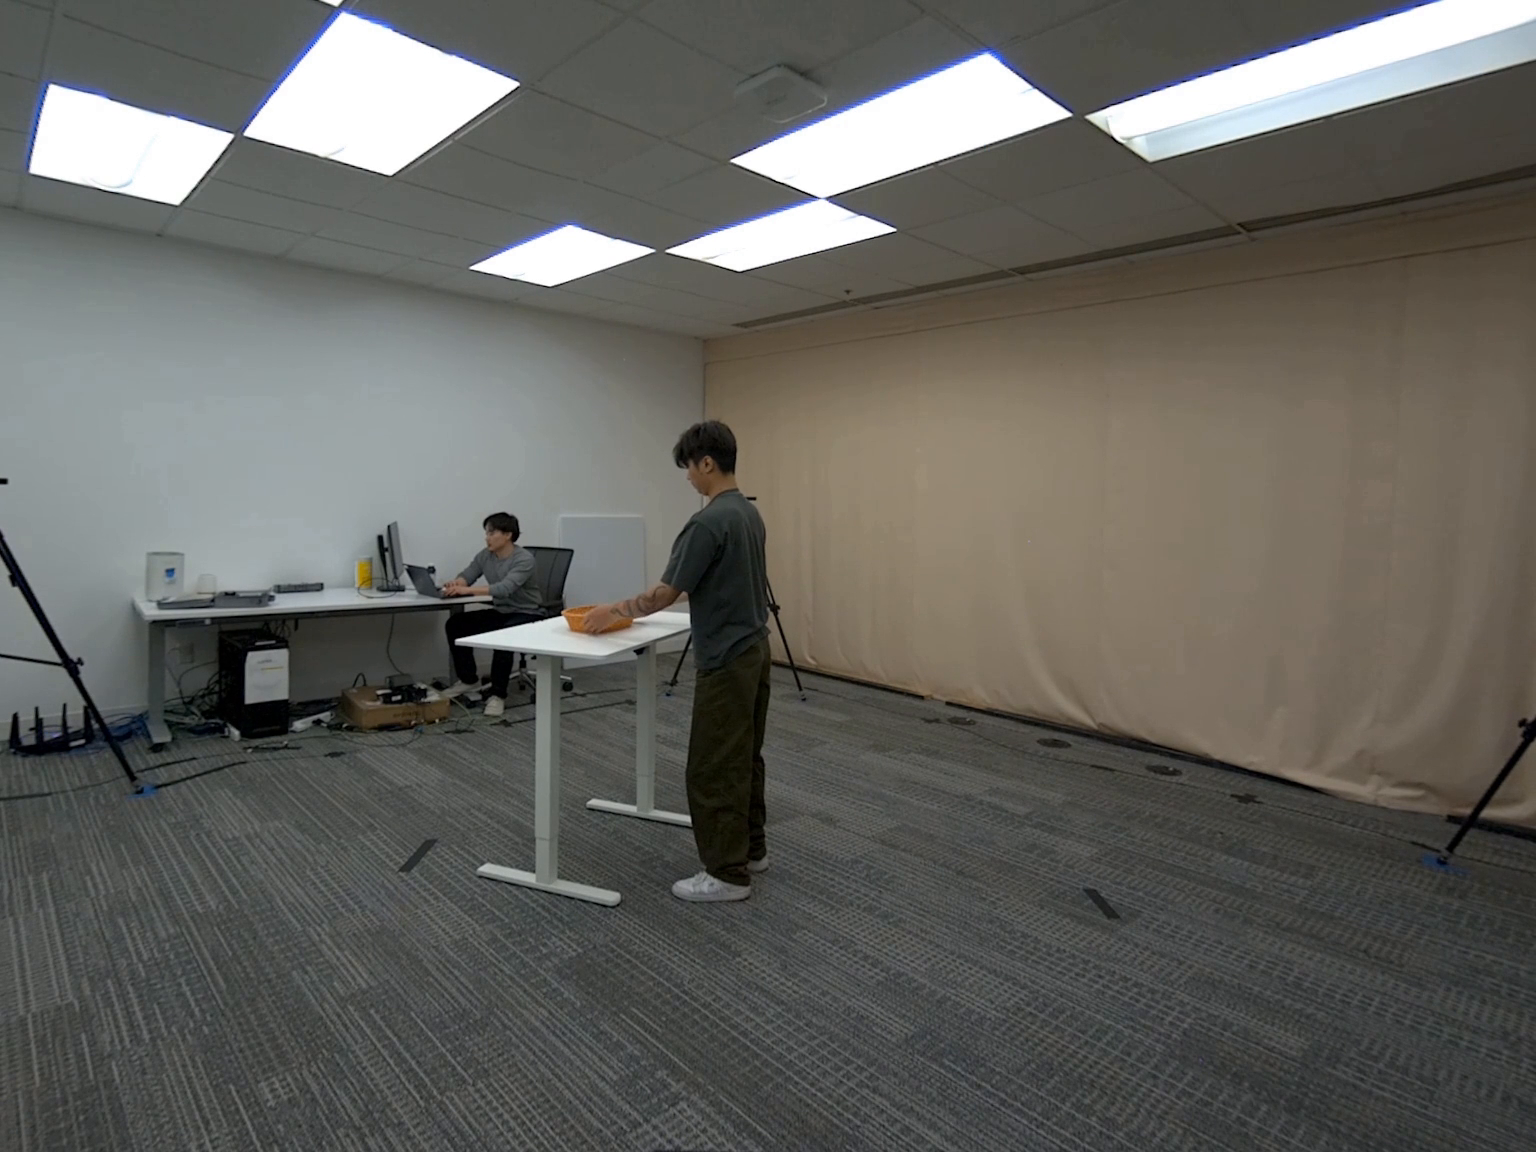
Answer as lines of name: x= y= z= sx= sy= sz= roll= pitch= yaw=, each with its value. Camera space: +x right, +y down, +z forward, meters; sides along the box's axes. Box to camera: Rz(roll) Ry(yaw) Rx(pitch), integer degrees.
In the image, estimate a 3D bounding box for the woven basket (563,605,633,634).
woven basket: x=-0.649 y=0.170 z=3.244 sx=0.257 sy=0.073 sz=0.345 roll=3 pitch=6 yaw=24
